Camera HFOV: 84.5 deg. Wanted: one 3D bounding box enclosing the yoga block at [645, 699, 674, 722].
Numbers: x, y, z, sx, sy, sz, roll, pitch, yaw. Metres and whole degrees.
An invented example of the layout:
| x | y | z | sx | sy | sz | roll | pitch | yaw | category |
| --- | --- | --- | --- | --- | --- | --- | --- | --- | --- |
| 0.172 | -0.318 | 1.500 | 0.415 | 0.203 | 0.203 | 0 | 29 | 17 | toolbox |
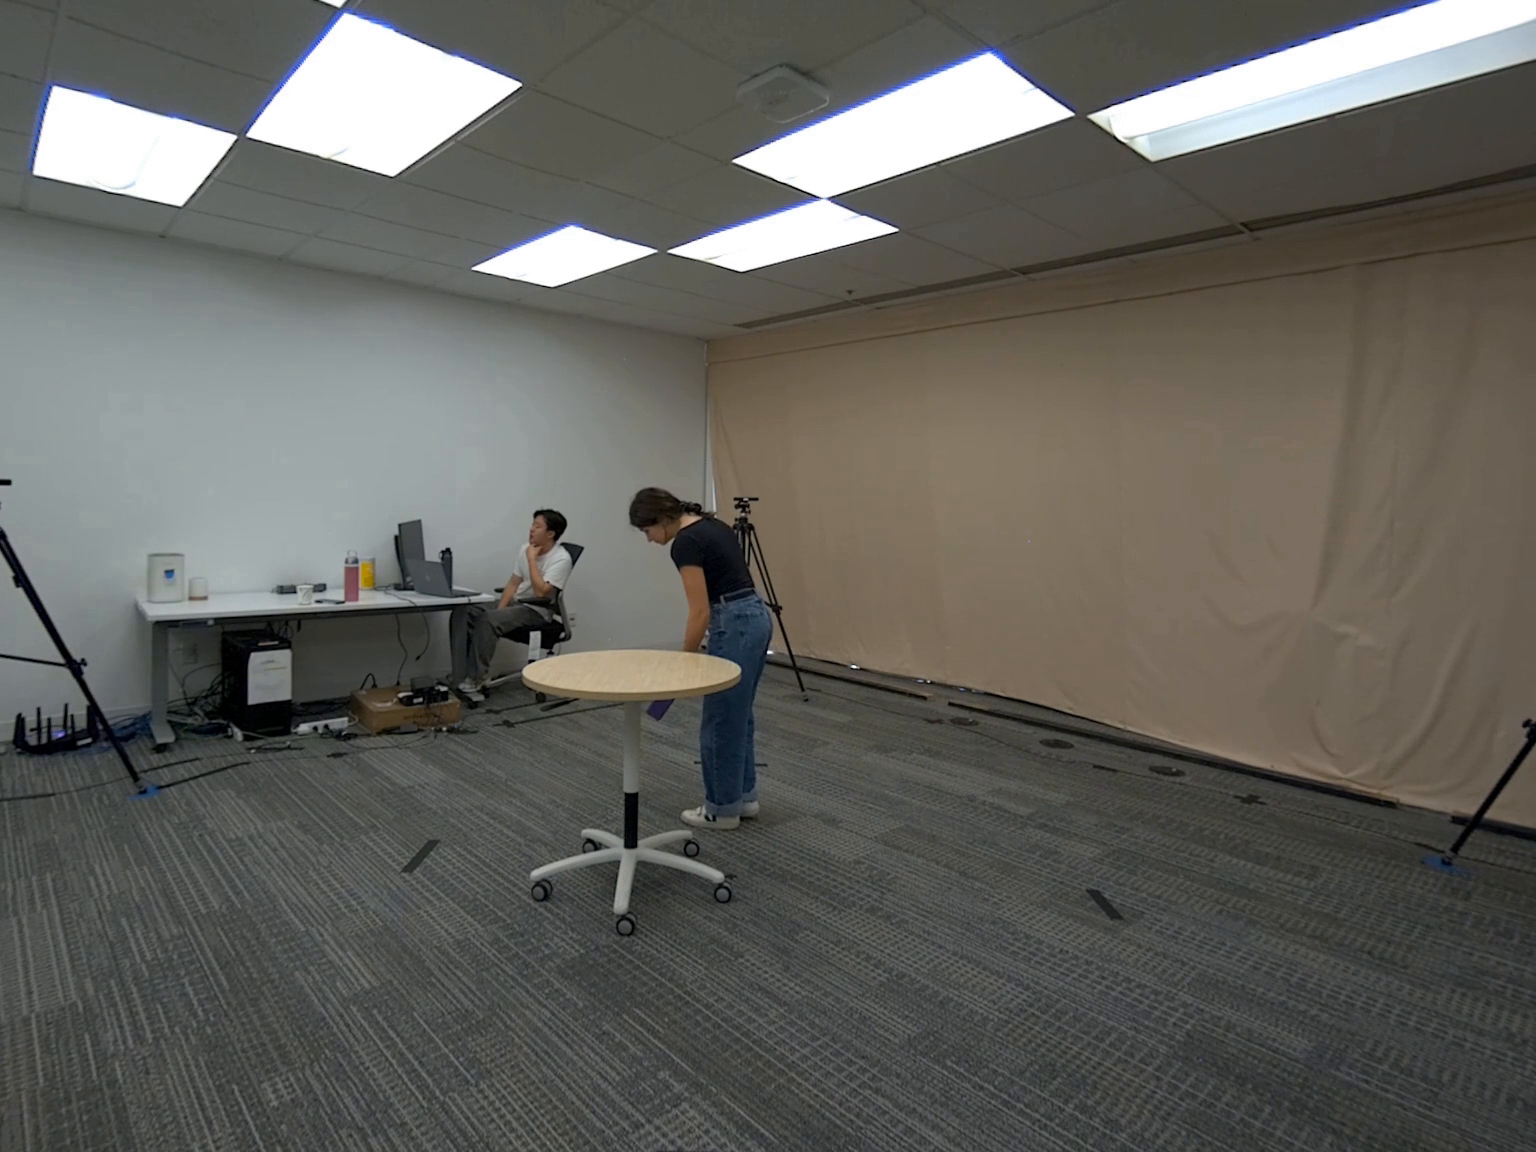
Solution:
| x | y | z | sx | sy | sz | roll | pitch | yaw | category |
| --- | --- | --- | --- | --- | --- | --- | --- | --- | --- |
| -0.426 | 0.493 | 3.578 | 0.076 | 0.229 | 0.149 | 35 | -4 | -3 | yoga block |
